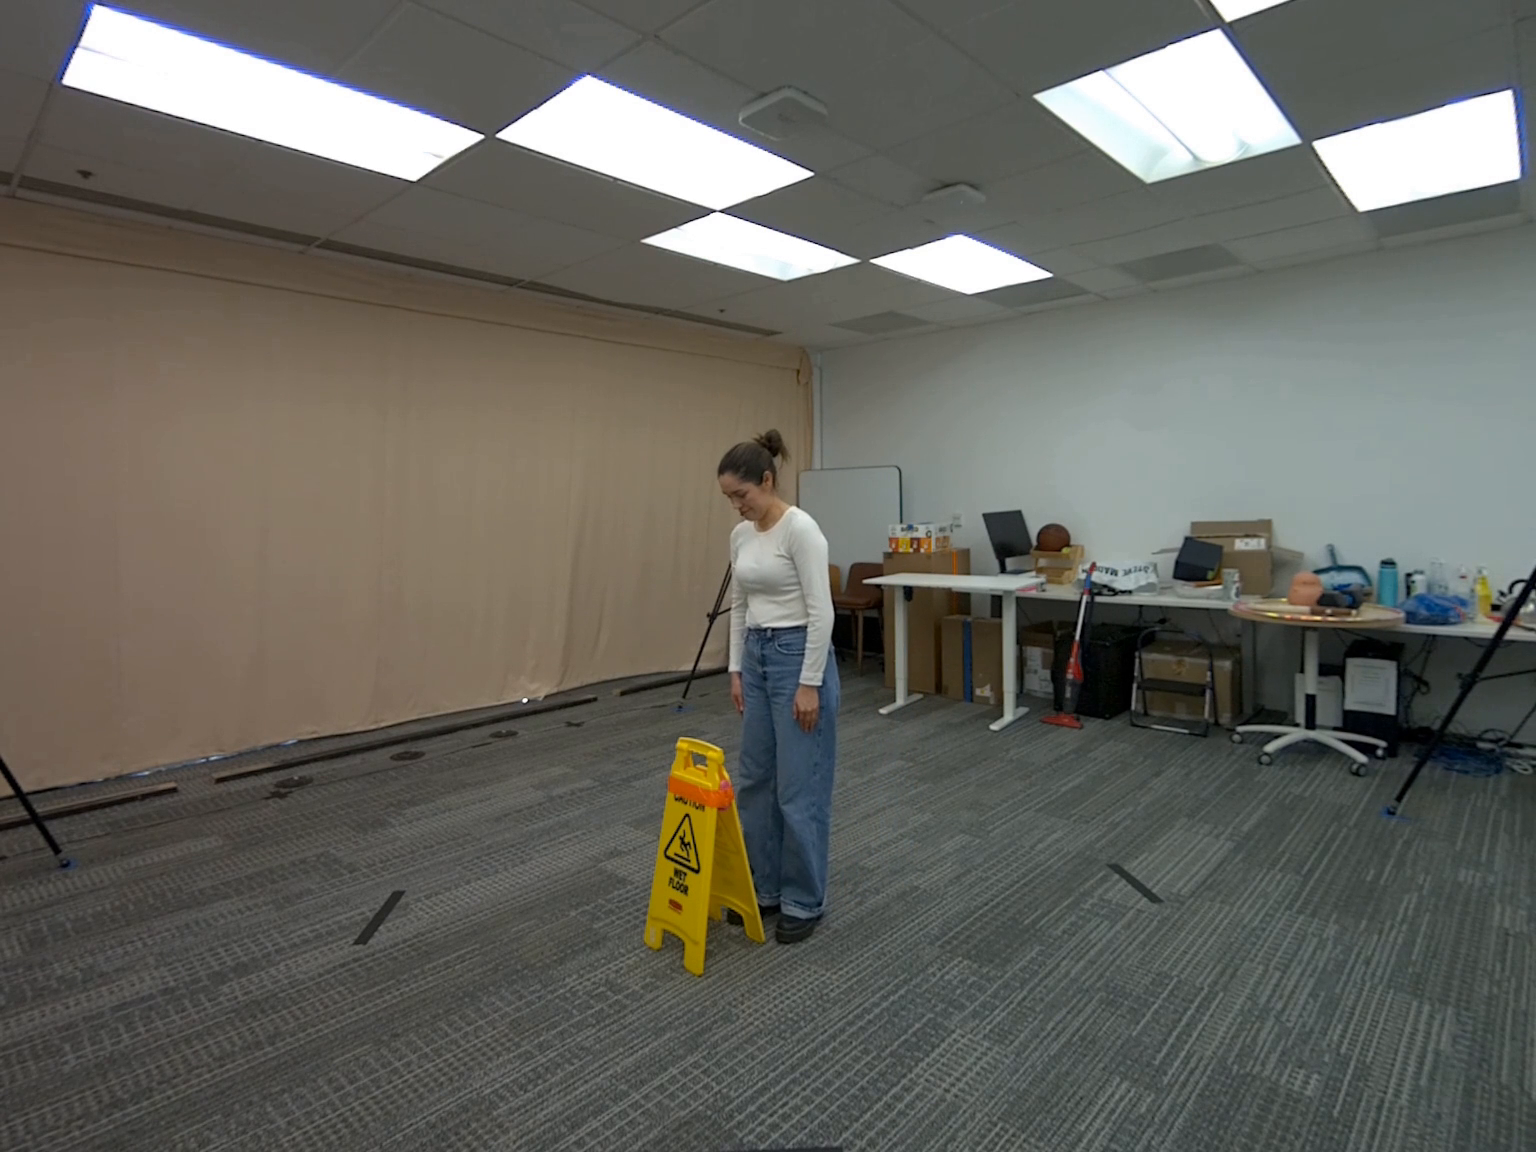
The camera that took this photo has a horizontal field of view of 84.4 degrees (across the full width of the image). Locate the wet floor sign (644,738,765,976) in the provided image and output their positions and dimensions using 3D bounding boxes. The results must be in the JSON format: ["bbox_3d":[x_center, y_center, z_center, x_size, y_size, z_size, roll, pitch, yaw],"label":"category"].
[{"bbox_3d":[-0.203,0.847,2.668,0.281,0.645,0.291,-4,4,-44],"label":"wet floor sign"}]
